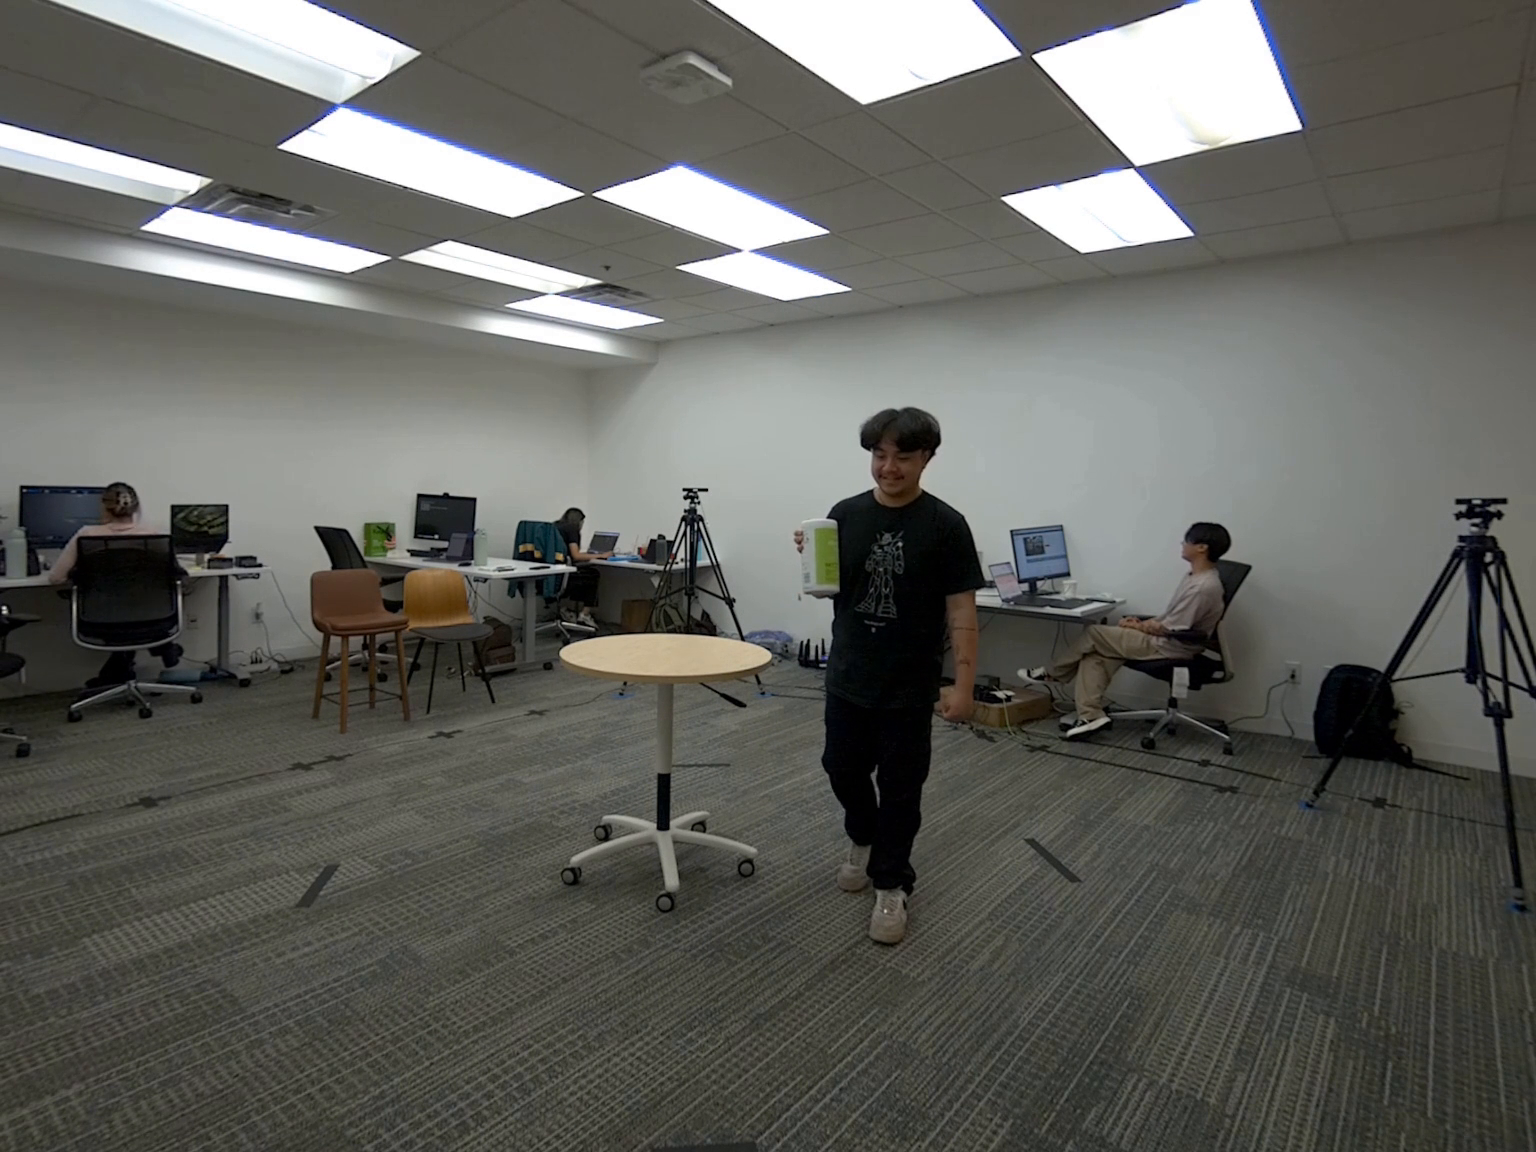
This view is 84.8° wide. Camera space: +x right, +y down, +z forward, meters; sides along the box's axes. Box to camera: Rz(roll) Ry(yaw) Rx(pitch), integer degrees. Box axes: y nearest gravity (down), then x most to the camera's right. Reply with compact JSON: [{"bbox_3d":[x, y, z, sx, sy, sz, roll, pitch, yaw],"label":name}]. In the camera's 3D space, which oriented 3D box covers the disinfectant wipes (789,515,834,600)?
[{"bbox_3d":[0.127,-0.054,2.496,0.118,0.221,0.116,2,-20,-1],"label":"disinfectant wipes"}]
